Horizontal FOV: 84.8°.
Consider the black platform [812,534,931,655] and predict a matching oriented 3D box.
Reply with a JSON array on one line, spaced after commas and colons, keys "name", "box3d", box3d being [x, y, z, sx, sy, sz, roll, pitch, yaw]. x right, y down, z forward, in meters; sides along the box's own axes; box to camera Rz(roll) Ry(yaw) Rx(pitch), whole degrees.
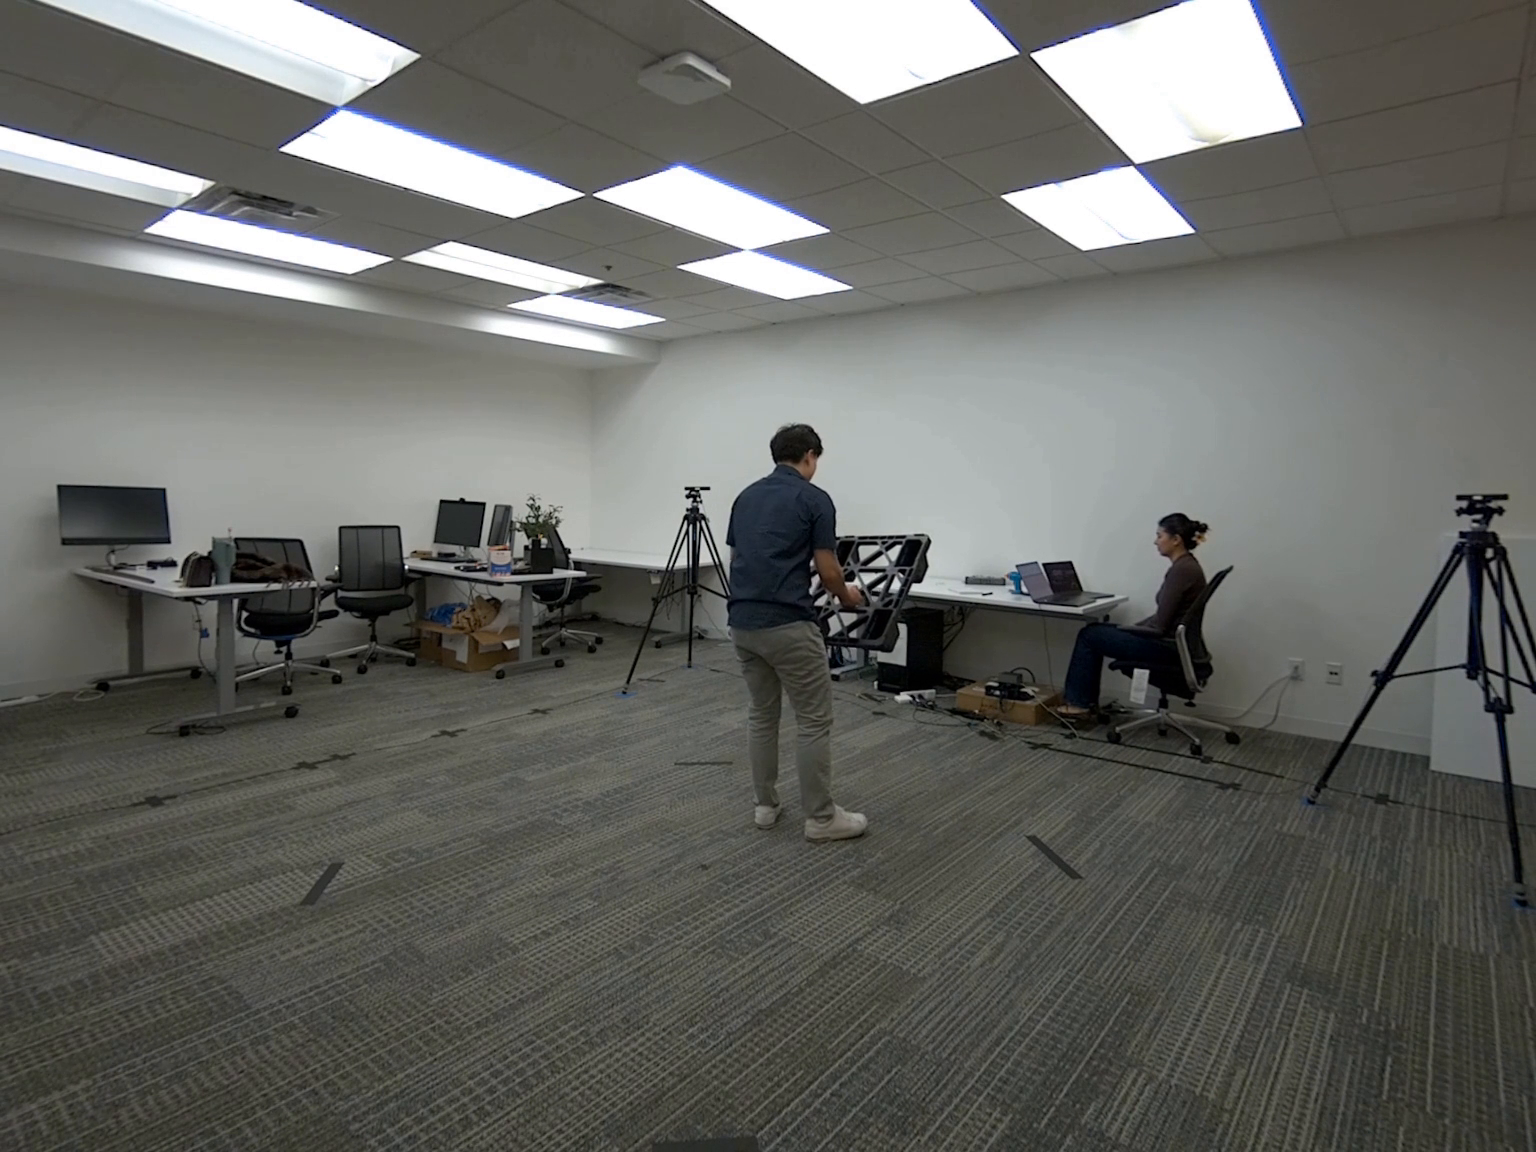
[{"name": "black platform", "box3d": [0.278, 0.085, 3.754, 0.831, 0.609, 0.138, 0, -41, 40]}]
